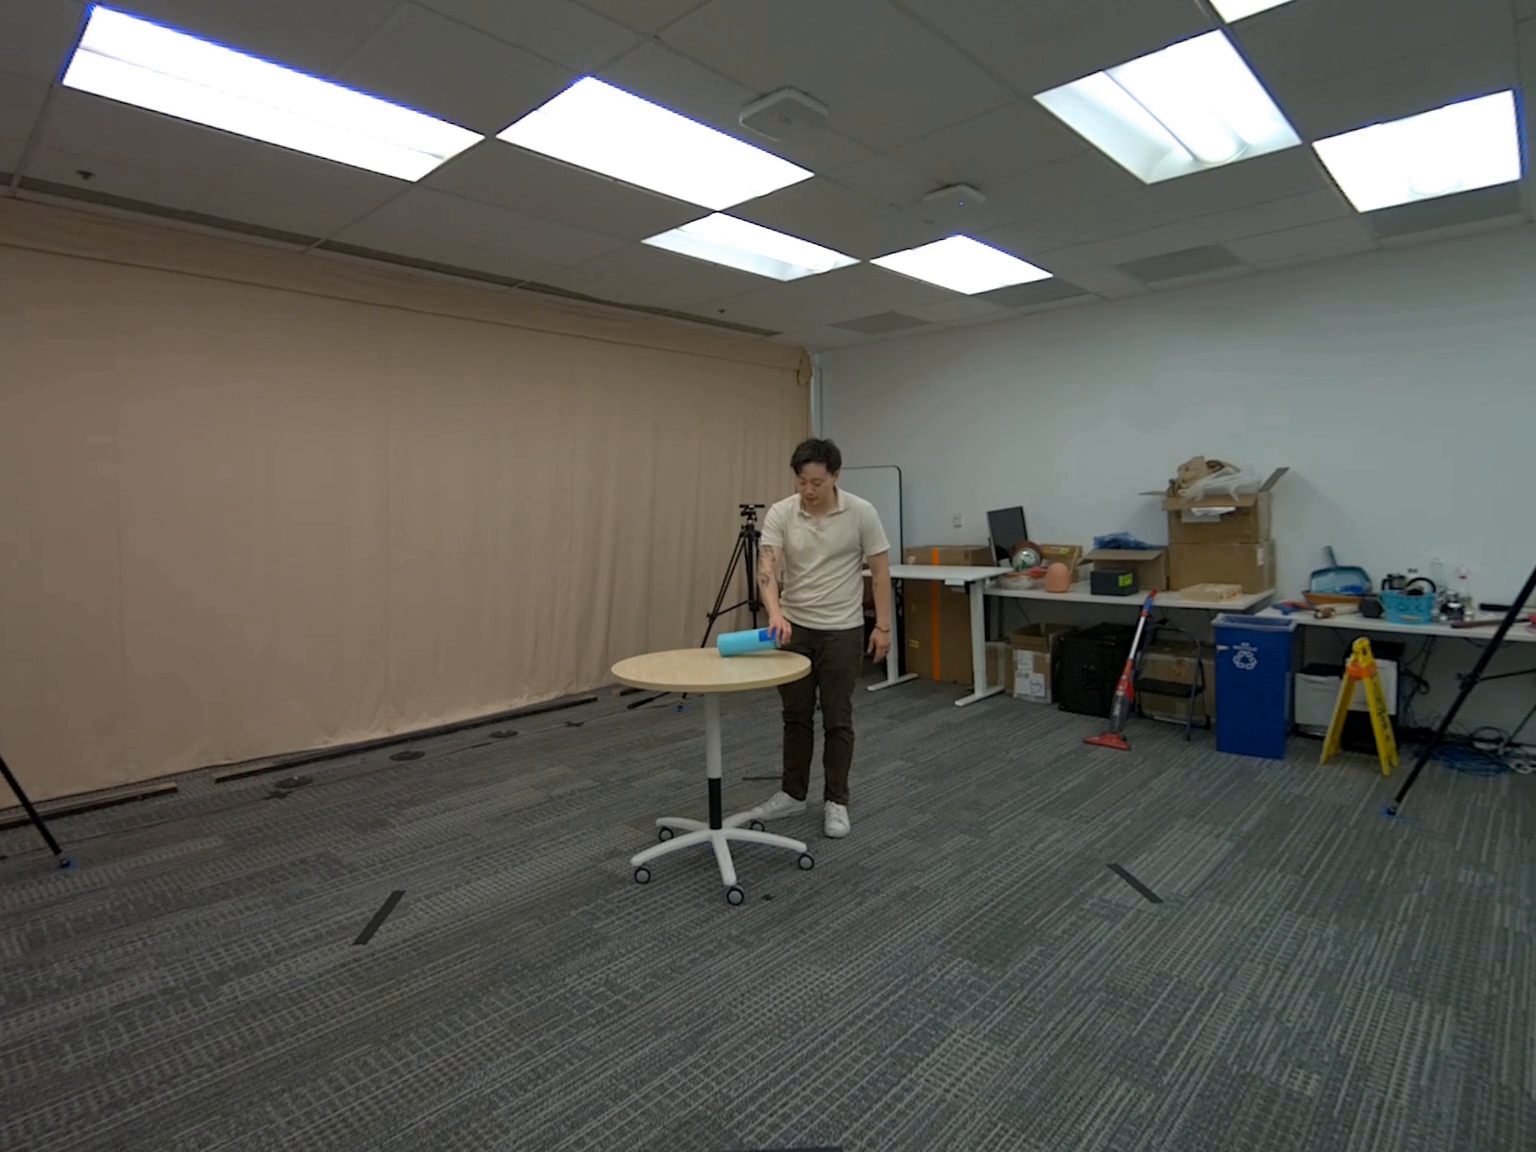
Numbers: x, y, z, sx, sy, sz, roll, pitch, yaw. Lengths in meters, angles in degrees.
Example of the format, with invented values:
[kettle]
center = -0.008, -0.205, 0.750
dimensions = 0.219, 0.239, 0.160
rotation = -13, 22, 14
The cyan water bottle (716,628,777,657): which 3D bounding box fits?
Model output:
[cyan water bottle]
center = -0.062, 0.262, 3.375
dimensions = 0.287, 0.092, 0.091
rotation = -8, 2, 15
